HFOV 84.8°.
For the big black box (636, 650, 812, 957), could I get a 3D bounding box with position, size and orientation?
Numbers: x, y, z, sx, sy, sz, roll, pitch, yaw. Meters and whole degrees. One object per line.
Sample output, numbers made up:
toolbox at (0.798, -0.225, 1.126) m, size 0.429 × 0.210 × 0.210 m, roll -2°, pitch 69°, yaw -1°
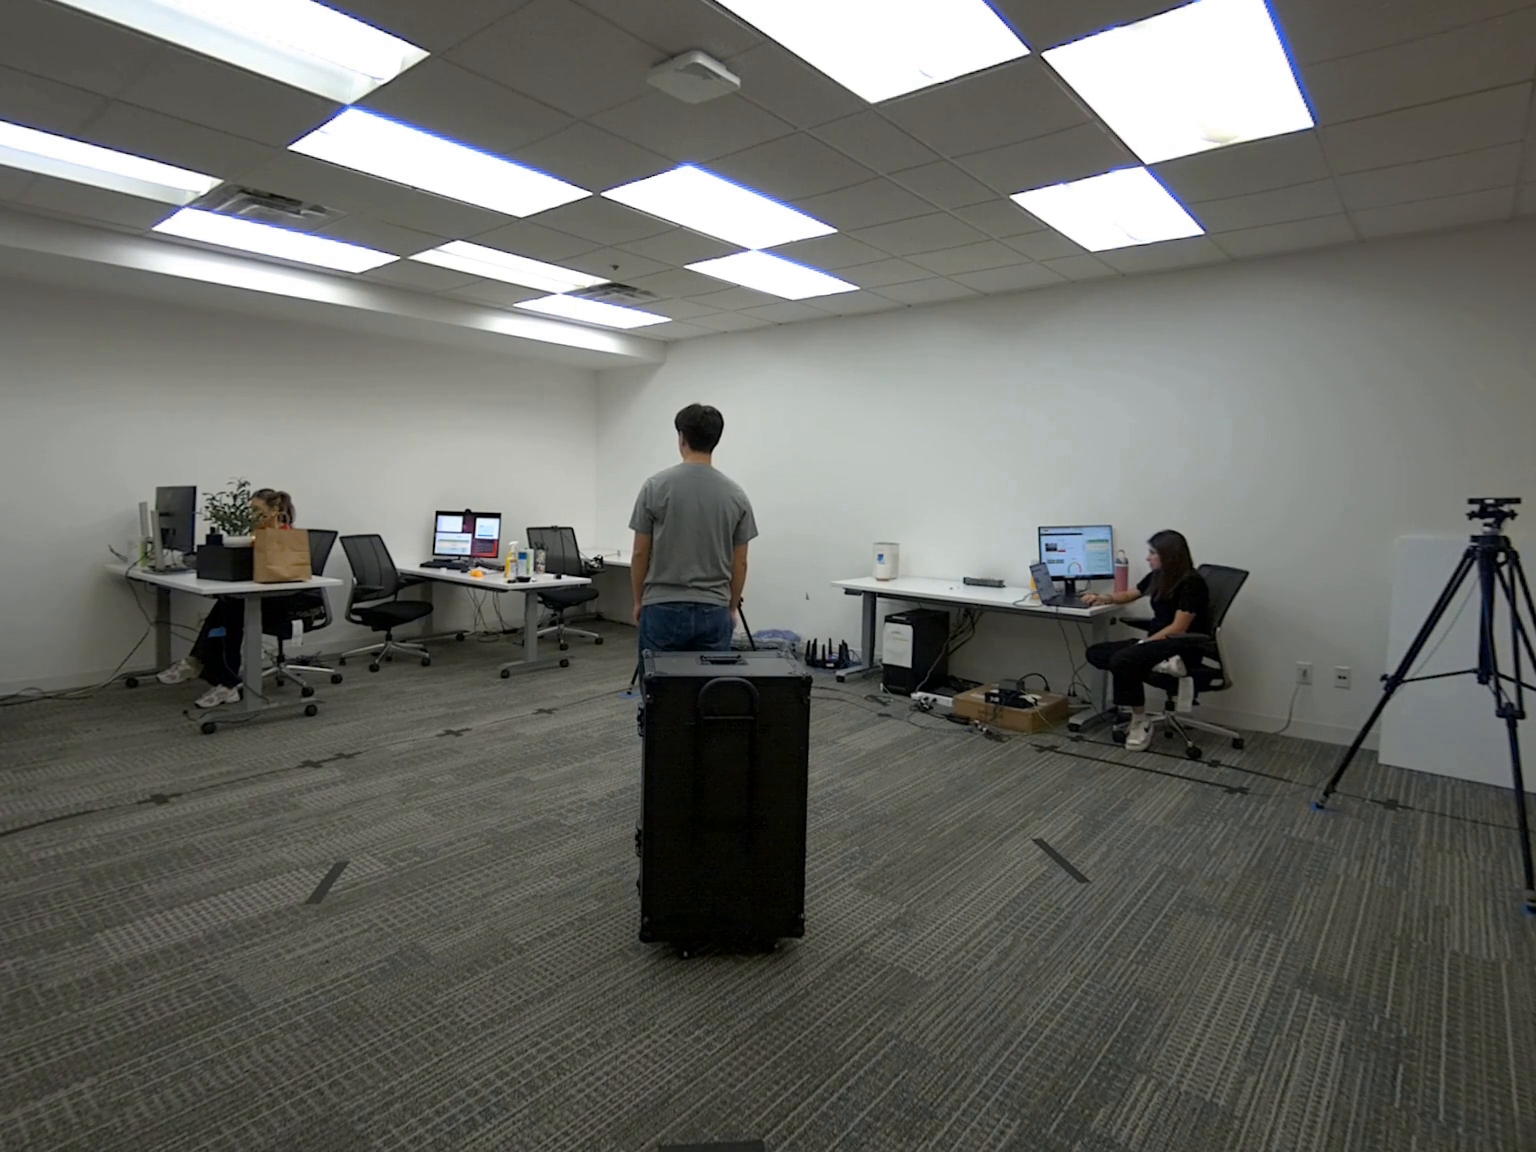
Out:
big black box at (-0.159, 0.638, 2.619) m, size 0.517 × 0.859 × 0.401 m, roll 1°, pitch 3°, yaw -8°
